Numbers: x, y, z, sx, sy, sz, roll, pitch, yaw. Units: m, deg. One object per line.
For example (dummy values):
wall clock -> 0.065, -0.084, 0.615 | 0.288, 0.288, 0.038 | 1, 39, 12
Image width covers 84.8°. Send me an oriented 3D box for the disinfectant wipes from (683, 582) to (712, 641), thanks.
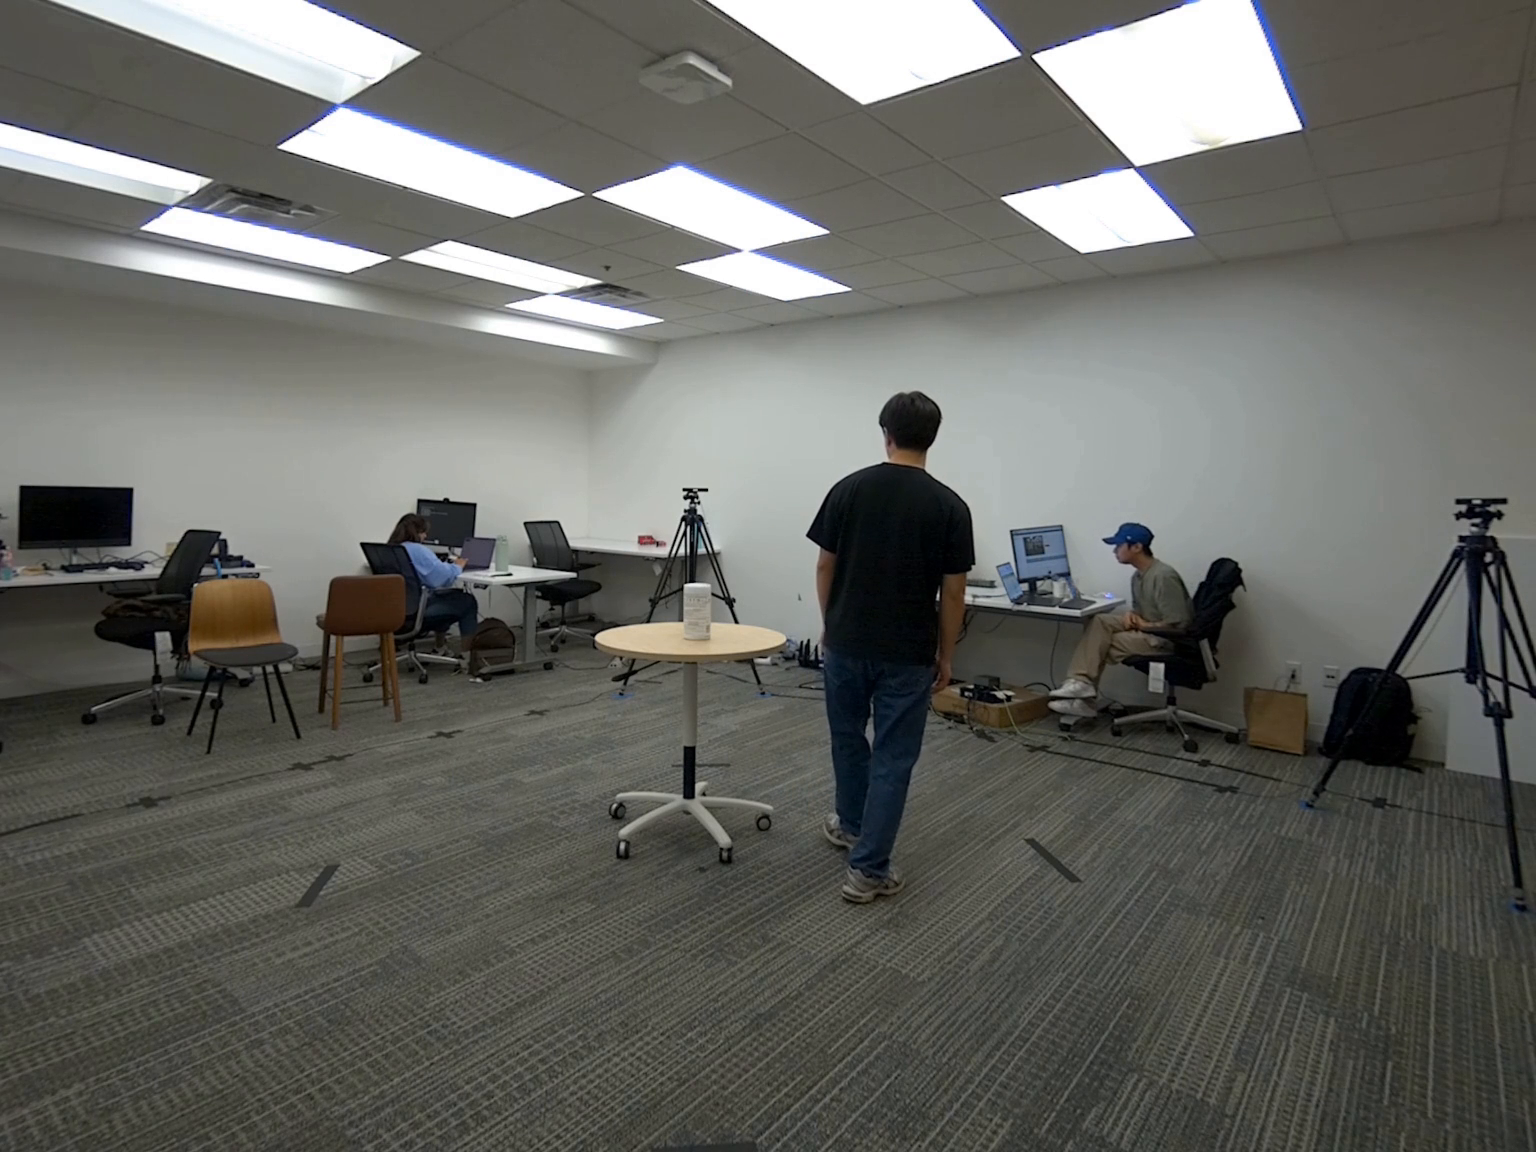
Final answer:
disinfectant wipes -> -0.295, 0.139, 3.375 | 0.118, 0.217, 0.118 | 1, 2, -2
